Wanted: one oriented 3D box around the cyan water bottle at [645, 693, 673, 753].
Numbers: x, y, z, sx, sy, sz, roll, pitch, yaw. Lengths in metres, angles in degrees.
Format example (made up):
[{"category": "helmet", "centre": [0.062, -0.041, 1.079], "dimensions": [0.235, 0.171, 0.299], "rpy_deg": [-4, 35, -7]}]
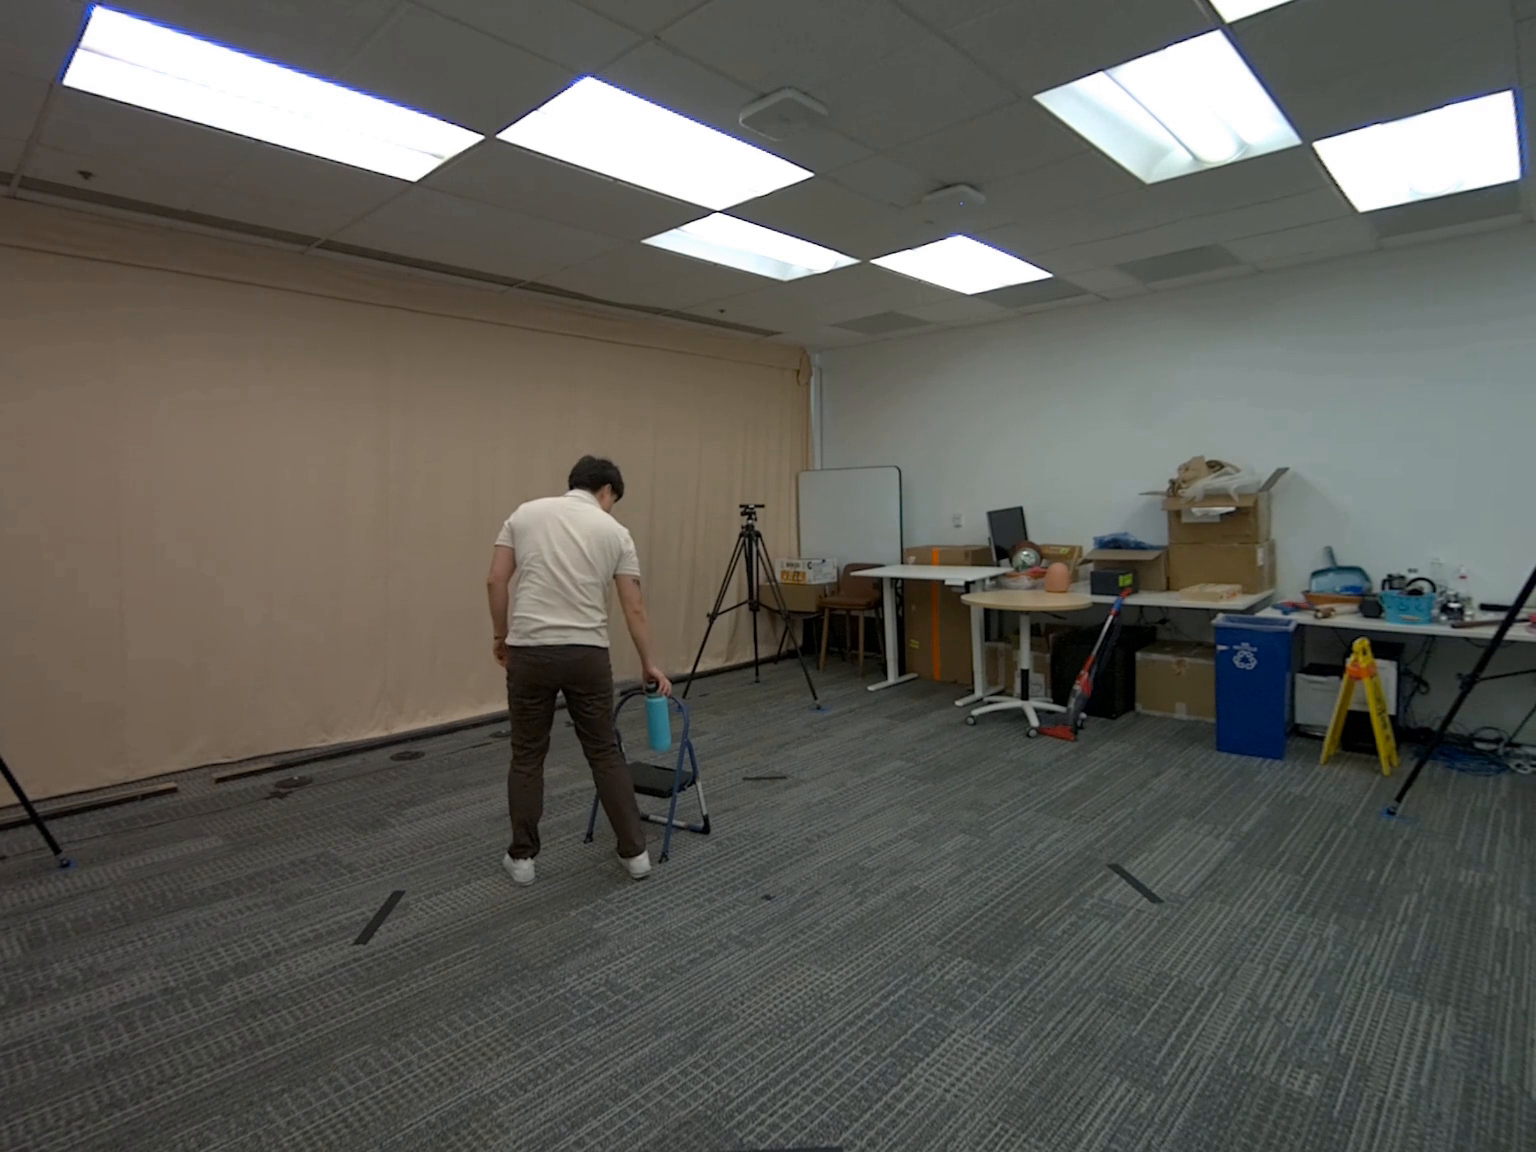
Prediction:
[{"category": "cyan water bottle", "centre": [-0.454, 0.559, 3.363], "dimensions": [0.092, 0.280, 0.093], "rpy_deg": [-5, 14, -1]}]
